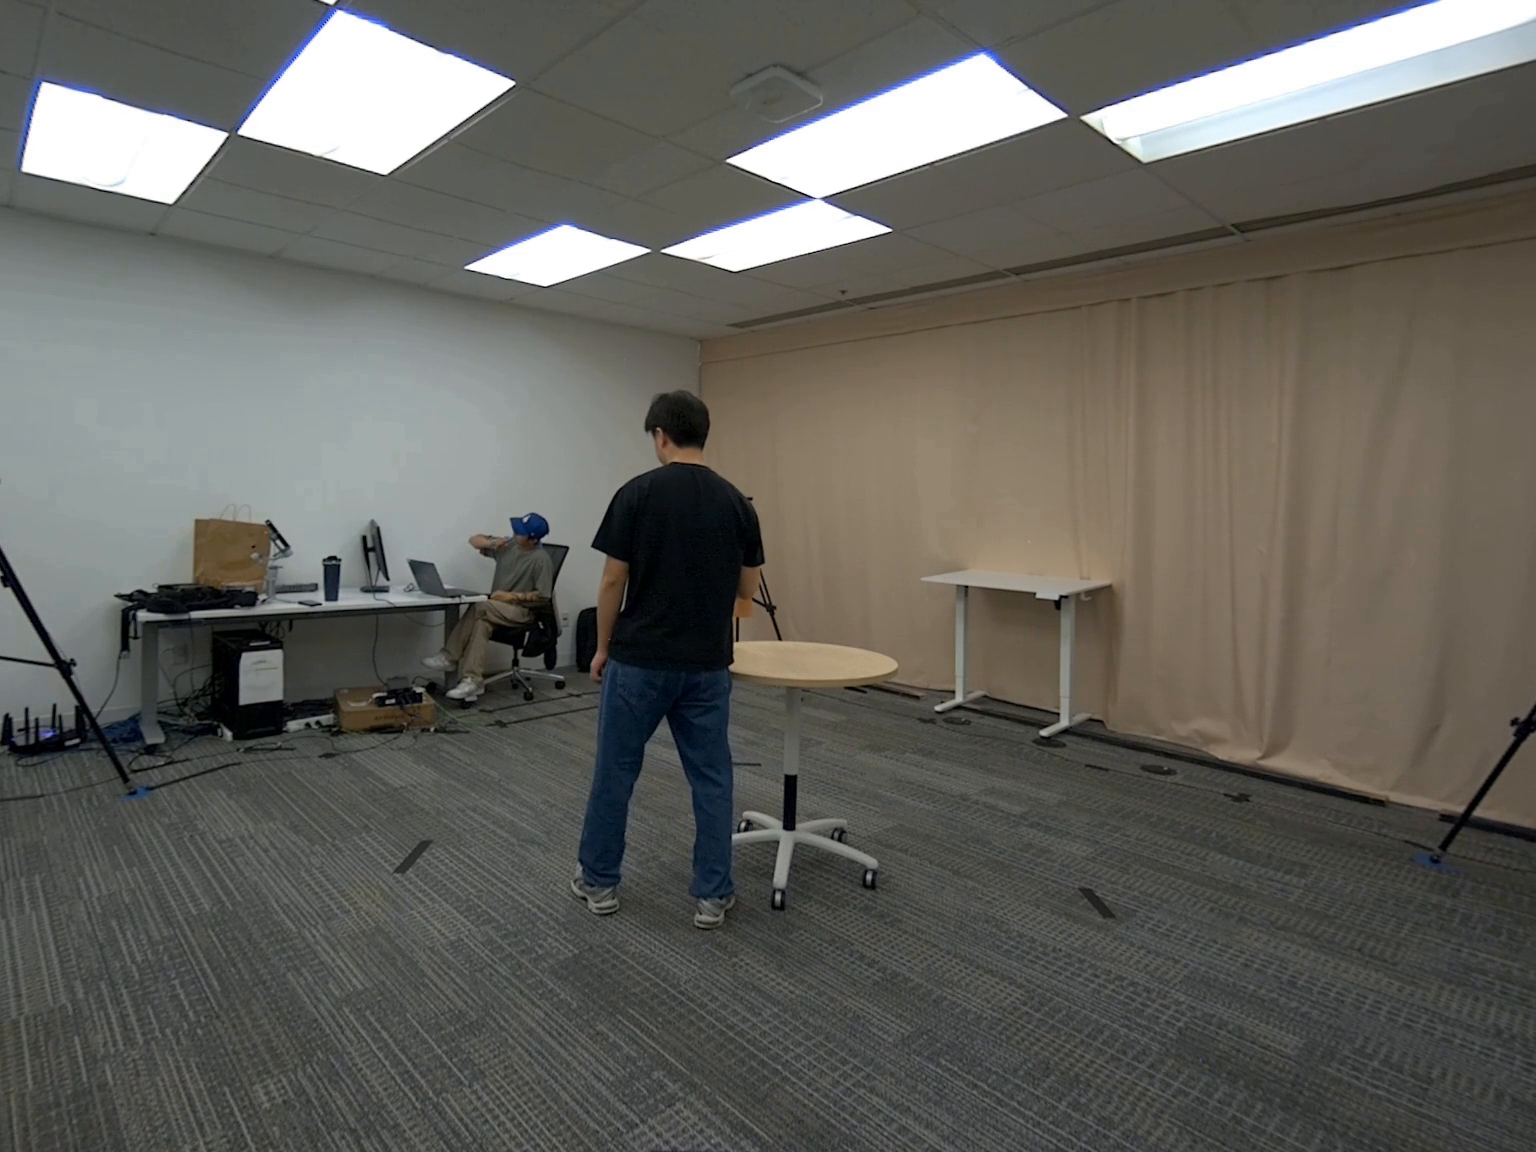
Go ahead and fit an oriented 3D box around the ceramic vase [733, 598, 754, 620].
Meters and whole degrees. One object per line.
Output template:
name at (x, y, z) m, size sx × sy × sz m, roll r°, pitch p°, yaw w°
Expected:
ceramic vase at (-0.109, 0.052, 3.313) m, size 0.156 × 0.219 × 0.137 m, roll 1°, pitch 6°, yaw -25°
